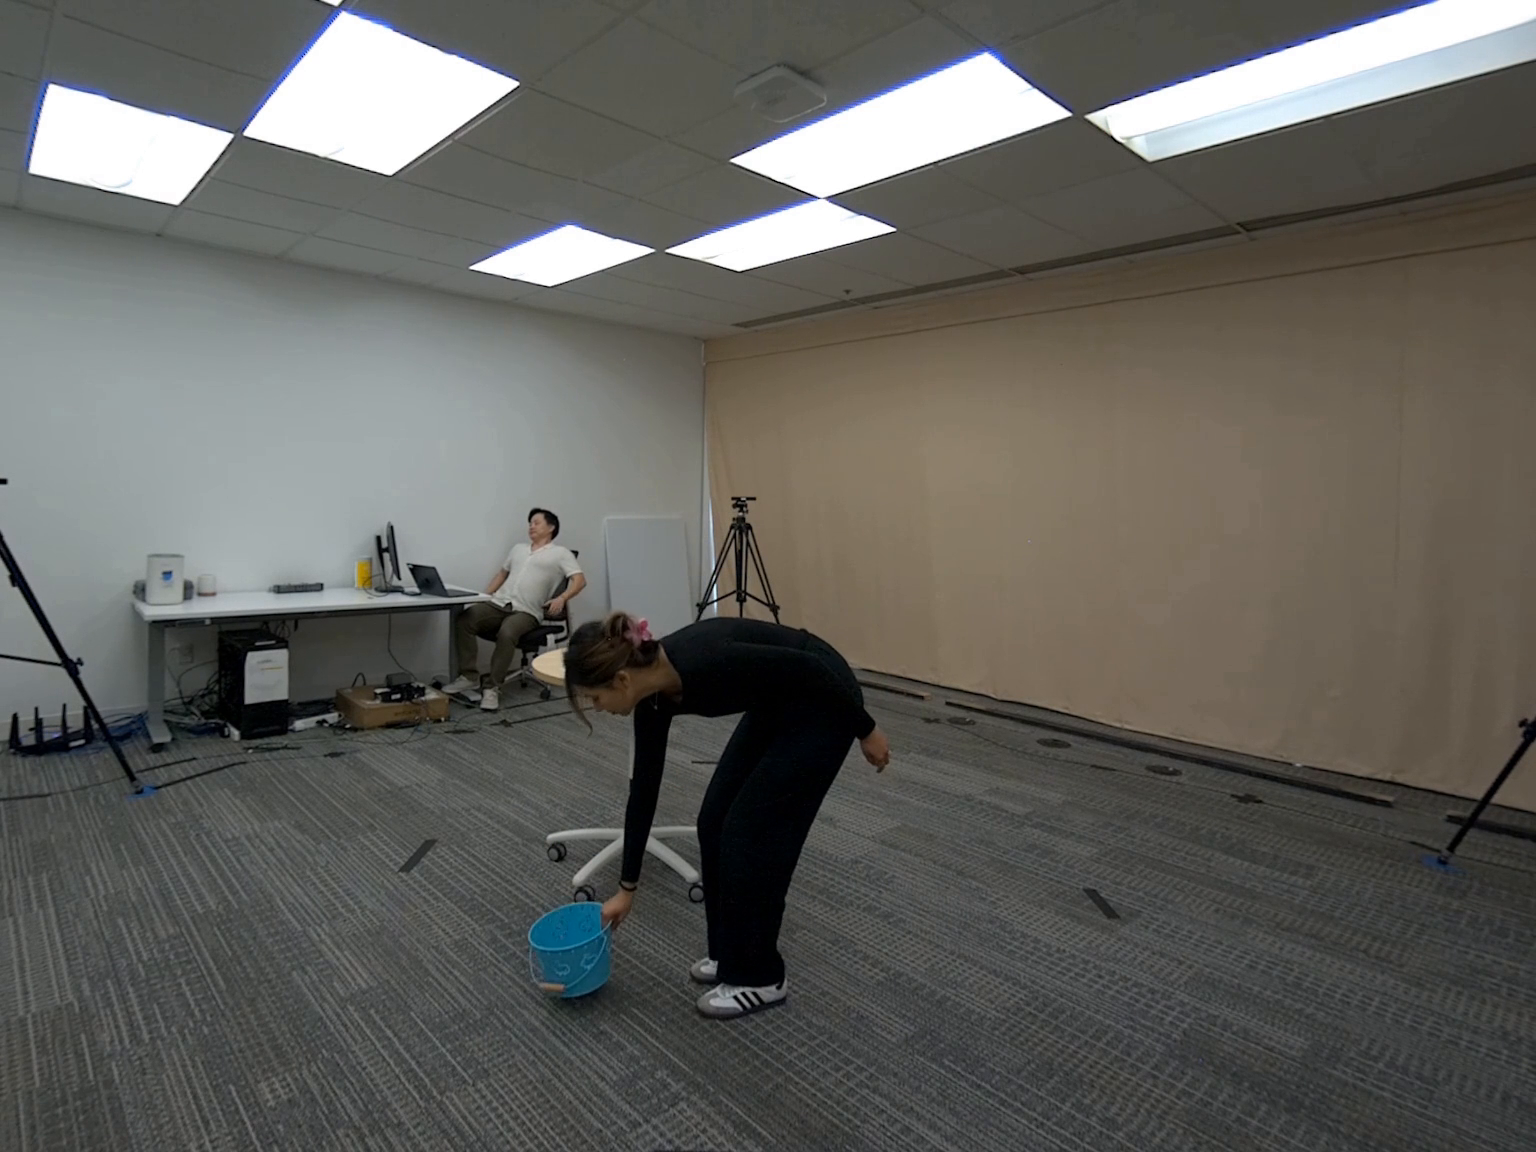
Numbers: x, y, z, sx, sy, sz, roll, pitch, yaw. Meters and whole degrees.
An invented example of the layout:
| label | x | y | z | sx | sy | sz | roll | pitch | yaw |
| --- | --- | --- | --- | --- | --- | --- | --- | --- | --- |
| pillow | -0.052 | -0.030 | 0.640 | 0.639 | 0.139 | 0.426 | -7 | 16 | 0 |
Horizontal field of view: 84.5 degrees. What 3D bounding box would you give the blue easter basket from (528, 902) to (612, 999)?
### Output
| label | x | y | z | sx | sy | sz | roll | pitch | yaw |
| --- | --- | --- | --- | --- | --- | --- | --- | --- | --- |
| blue easter basket | -0.536 | 1.026 | 2.326 | 0.243 | 0.155 | 0.245 | -8 | 8 | 0 |
